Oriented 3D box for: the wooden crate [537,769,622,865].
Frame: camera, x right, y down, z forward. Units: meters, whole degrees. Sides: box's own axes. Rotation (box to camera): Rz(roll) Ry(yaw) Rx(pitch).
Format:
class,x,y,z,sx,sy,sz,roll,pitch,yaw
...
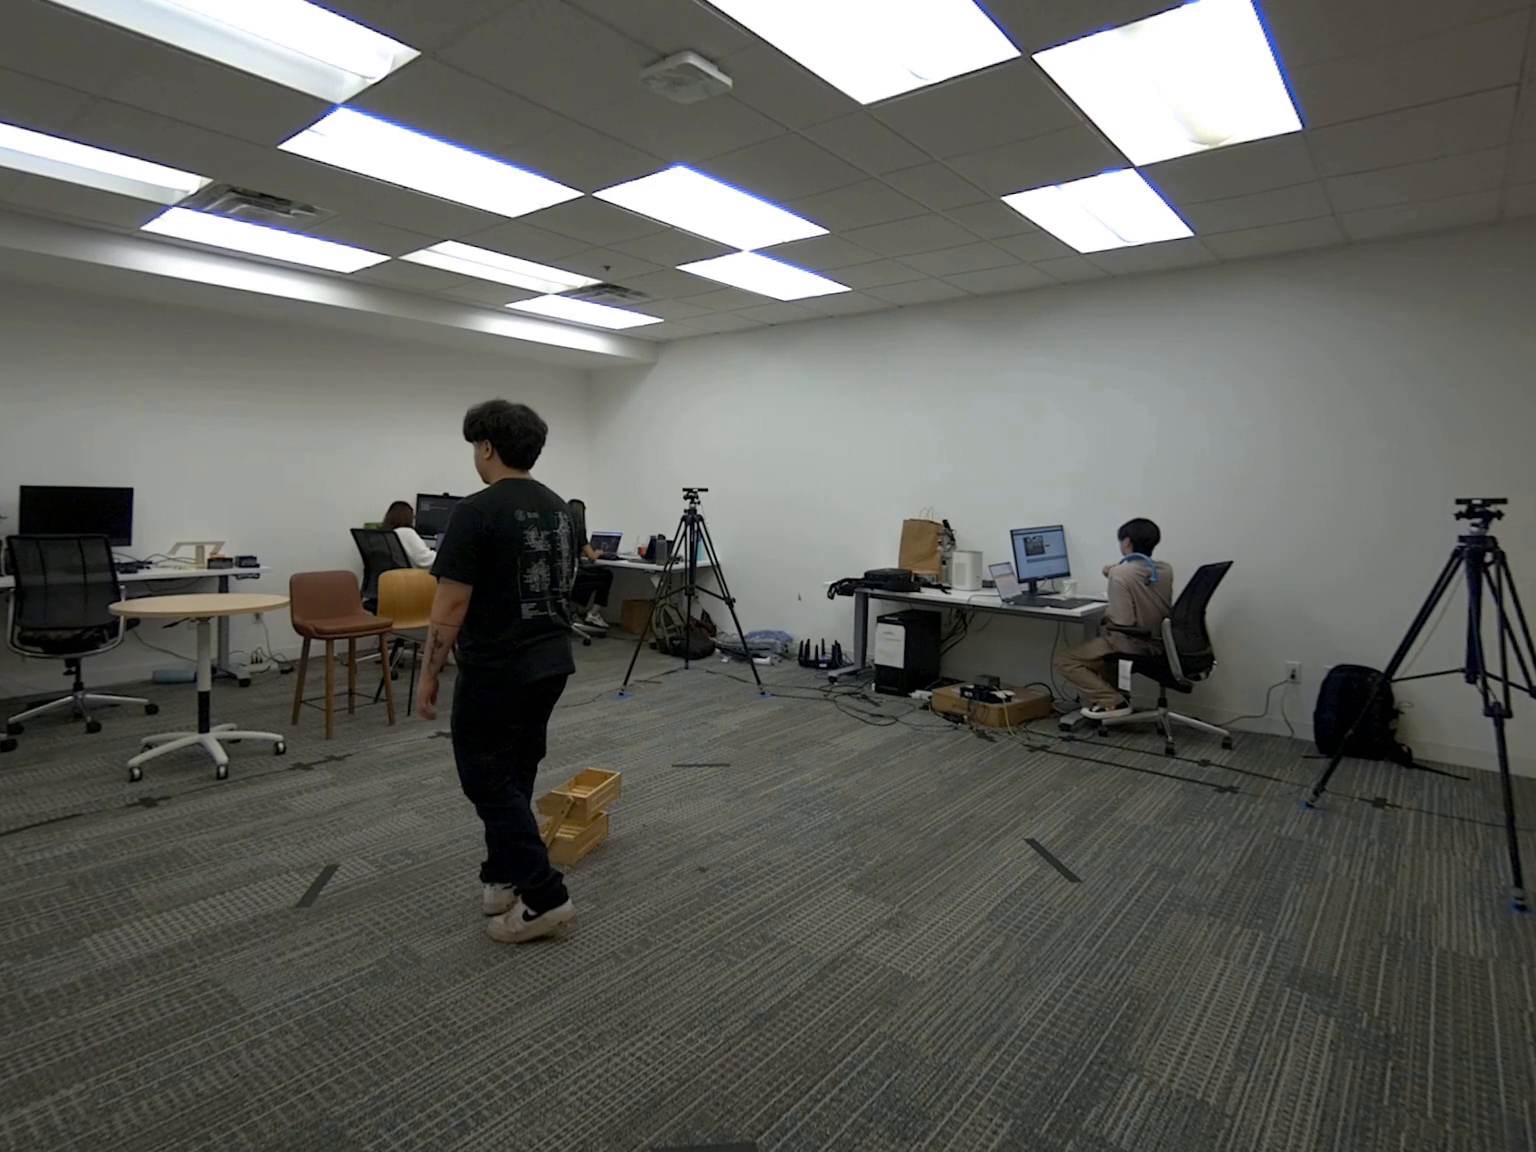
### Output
class,x,y,z,sx,sy,sz,roll,pitch,yaw
wooden crate,-0.787,0.910,3.289,0.308,0.272,0.319,3,5,17
